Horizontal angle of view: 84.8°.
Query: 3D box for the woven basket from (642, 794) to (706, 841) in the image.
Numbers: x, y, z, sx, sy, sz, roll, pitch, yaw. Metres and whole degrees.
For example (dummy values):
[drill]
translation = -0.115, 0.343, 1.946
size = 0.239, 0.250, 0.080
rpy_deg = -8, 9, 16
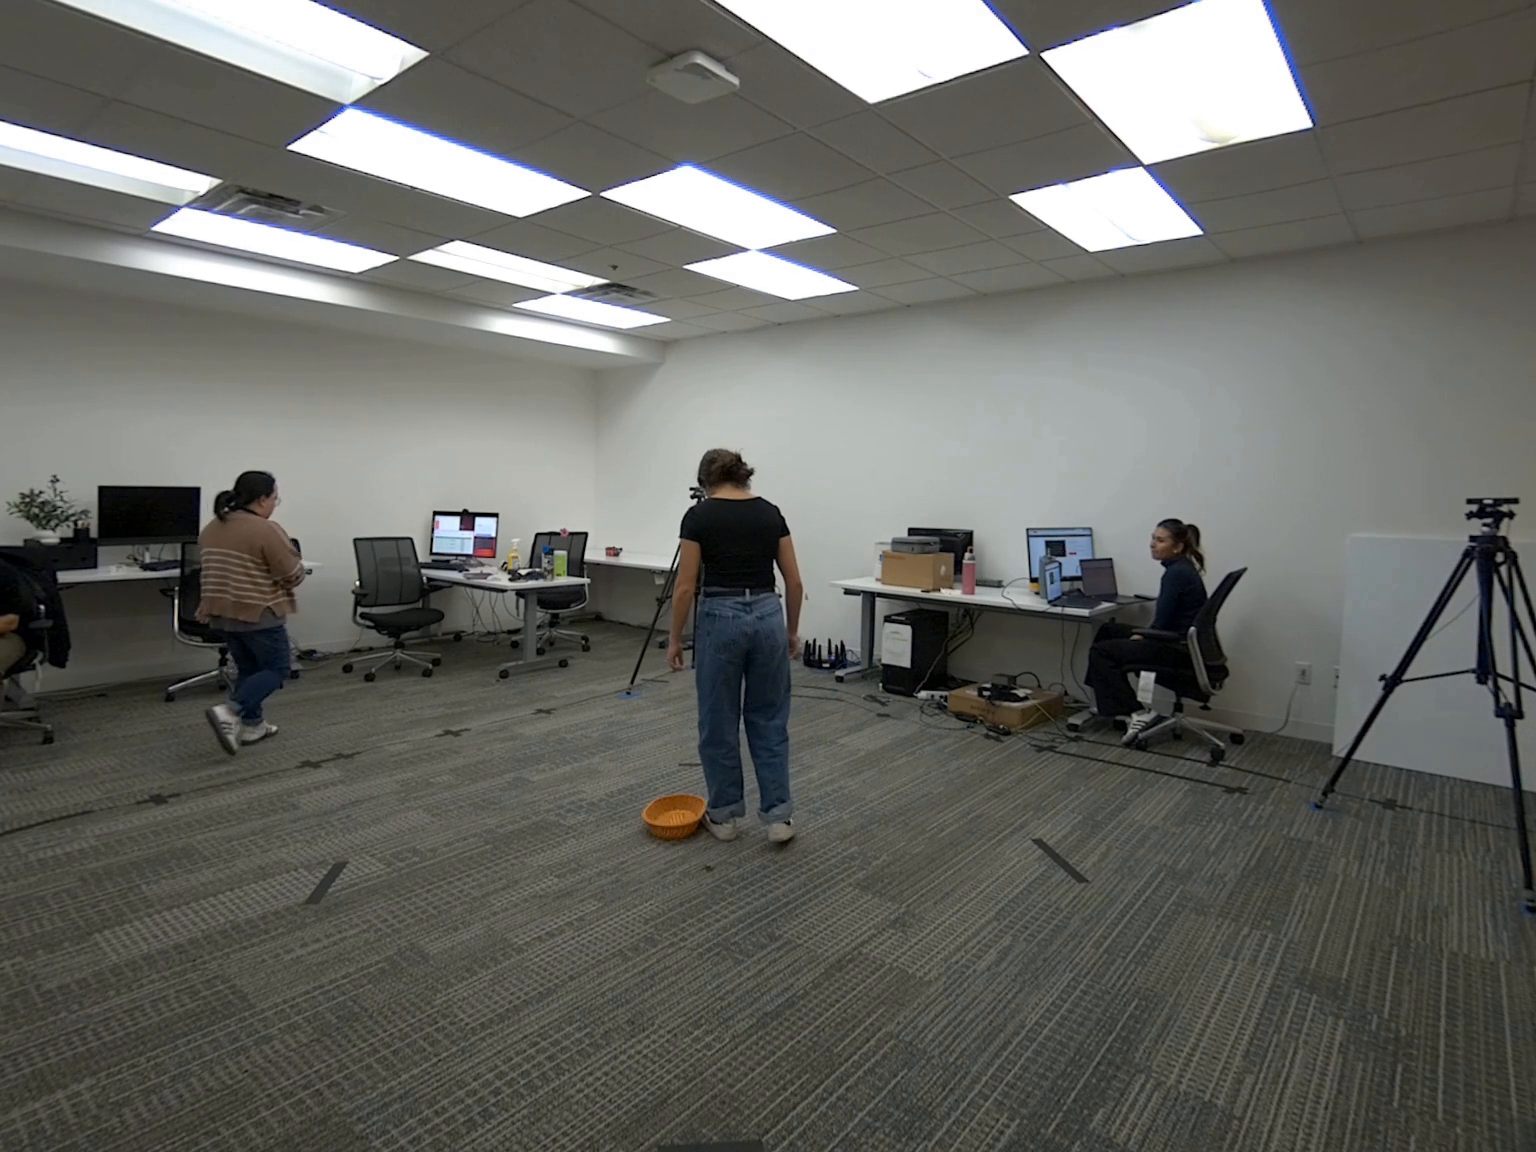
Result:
[woven basket]
translation = -0.397, 0.983, 3.494
size = 0.256, 0.073, 0.347
rpy_deg = 0, 5, 11
